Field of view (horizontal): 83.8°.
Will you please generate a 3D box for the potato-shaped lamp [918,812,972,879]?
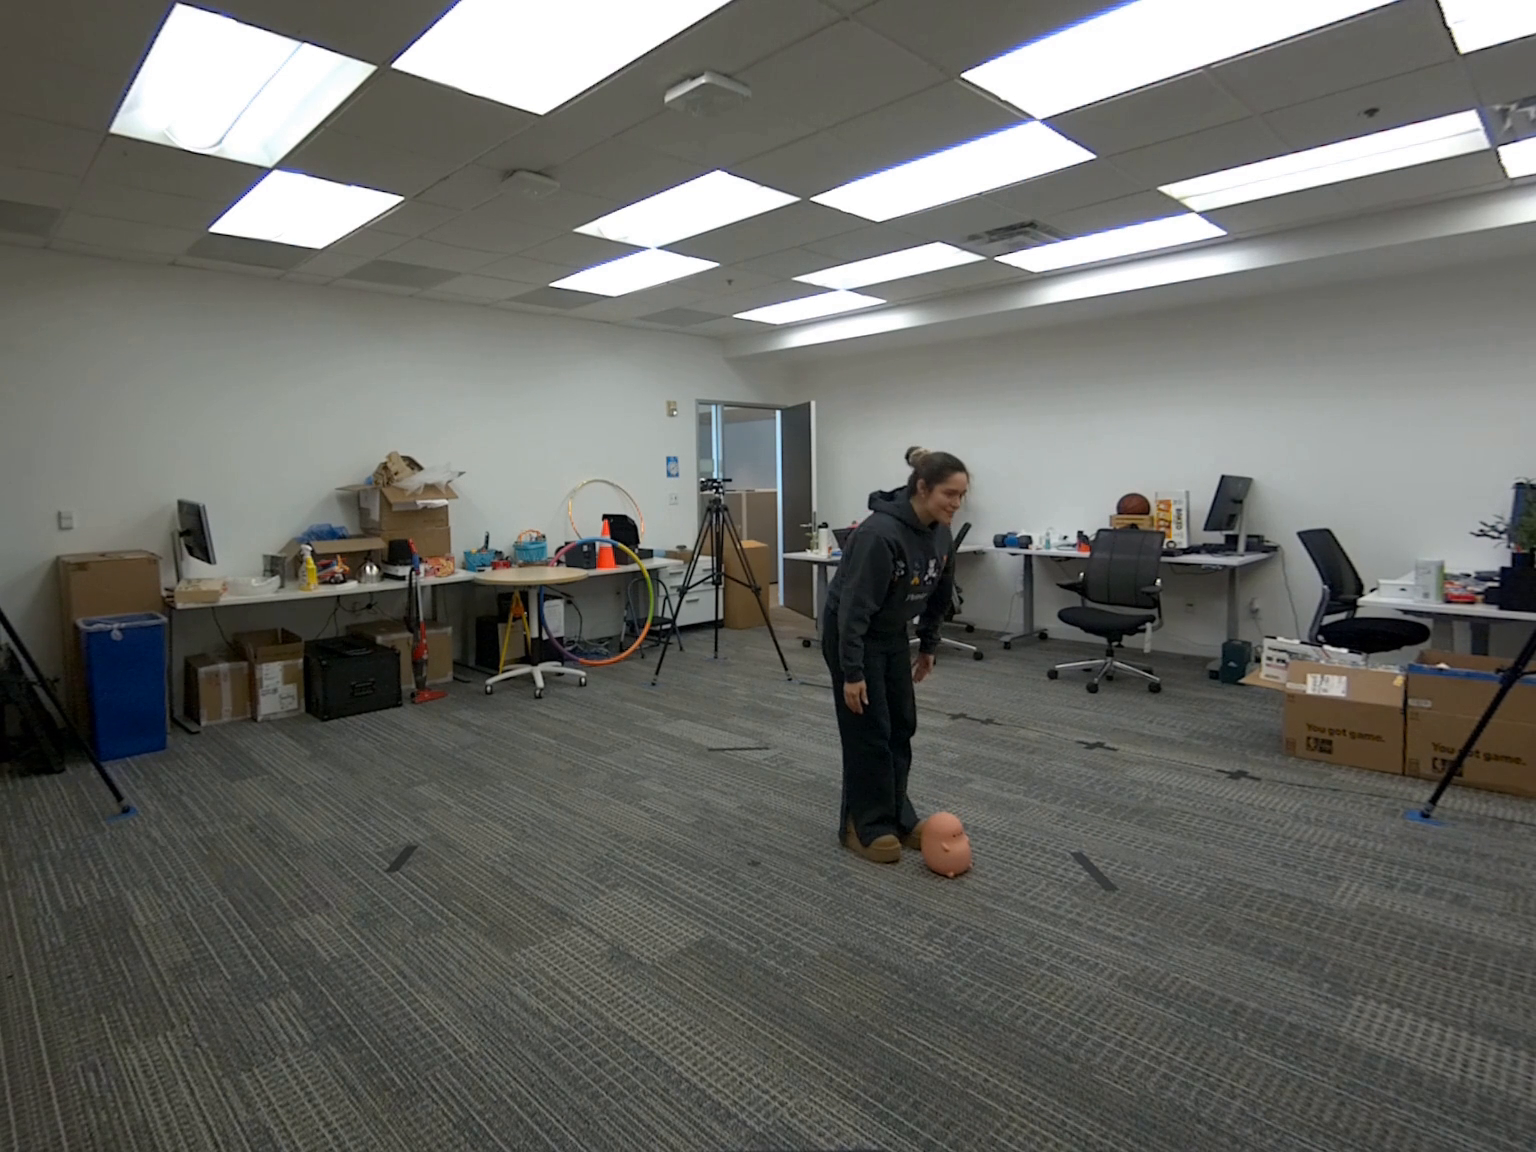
[{"bbox_3d":[0.633,0.955,3.012,0.169,0.200,0.165,-26,-11,-48],"label":"potato-shaped lamp"}]
